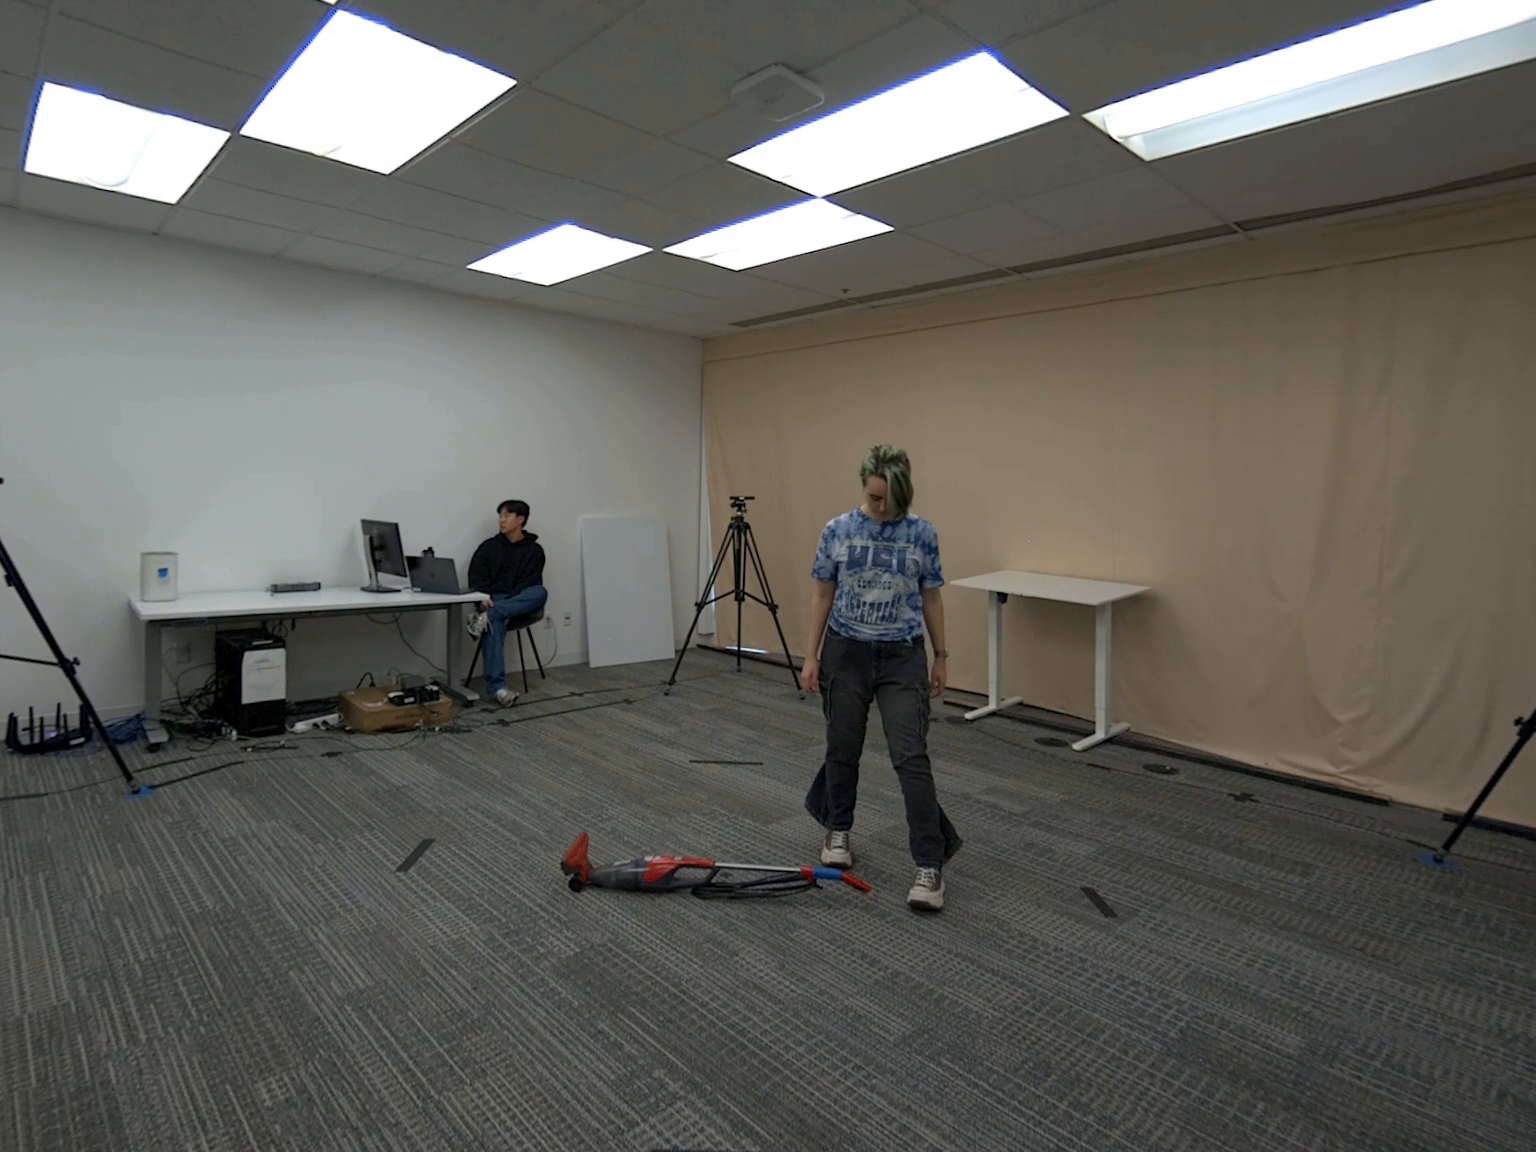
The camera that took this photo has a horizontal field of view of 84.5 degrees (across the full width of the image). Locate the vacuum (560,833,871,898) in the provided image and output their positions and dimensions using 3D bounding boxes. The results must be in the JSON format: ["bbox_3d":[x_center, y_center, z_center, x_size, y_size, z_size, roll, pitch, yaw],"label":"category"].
[{"bbox_3d":[-0.178,1.052,2.940,1.055,0.143,0.252,3,5,7],"label":"vacuum"}]
